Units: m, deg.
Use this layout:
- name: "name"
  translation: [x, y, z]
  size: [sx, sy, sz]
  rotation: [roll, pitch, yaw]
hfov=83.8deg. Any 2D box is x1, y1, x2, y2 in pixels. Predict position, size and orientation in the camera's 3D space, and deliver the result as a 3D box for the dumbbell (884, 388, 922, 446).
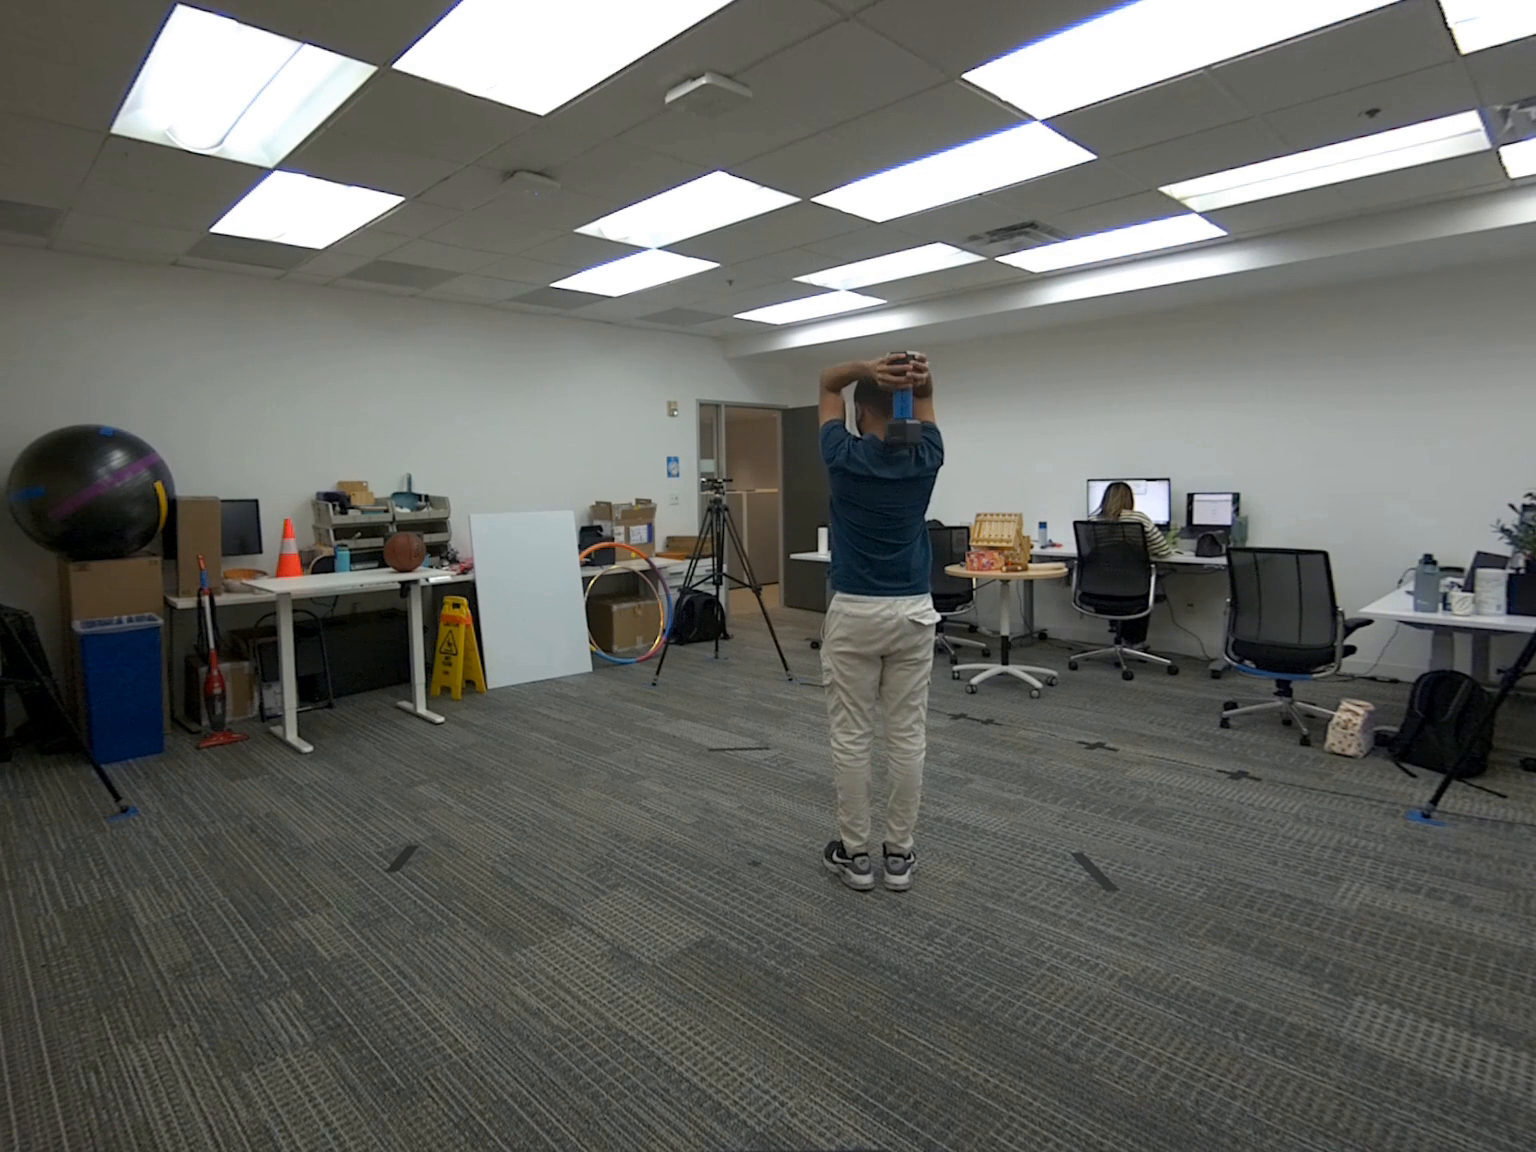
- name: "dumbbell"
  translation: [0.439, -0.560, 2.714]
  size: [0.109, 0.294, 0.123]
  rotation: [3, -2, -1]
